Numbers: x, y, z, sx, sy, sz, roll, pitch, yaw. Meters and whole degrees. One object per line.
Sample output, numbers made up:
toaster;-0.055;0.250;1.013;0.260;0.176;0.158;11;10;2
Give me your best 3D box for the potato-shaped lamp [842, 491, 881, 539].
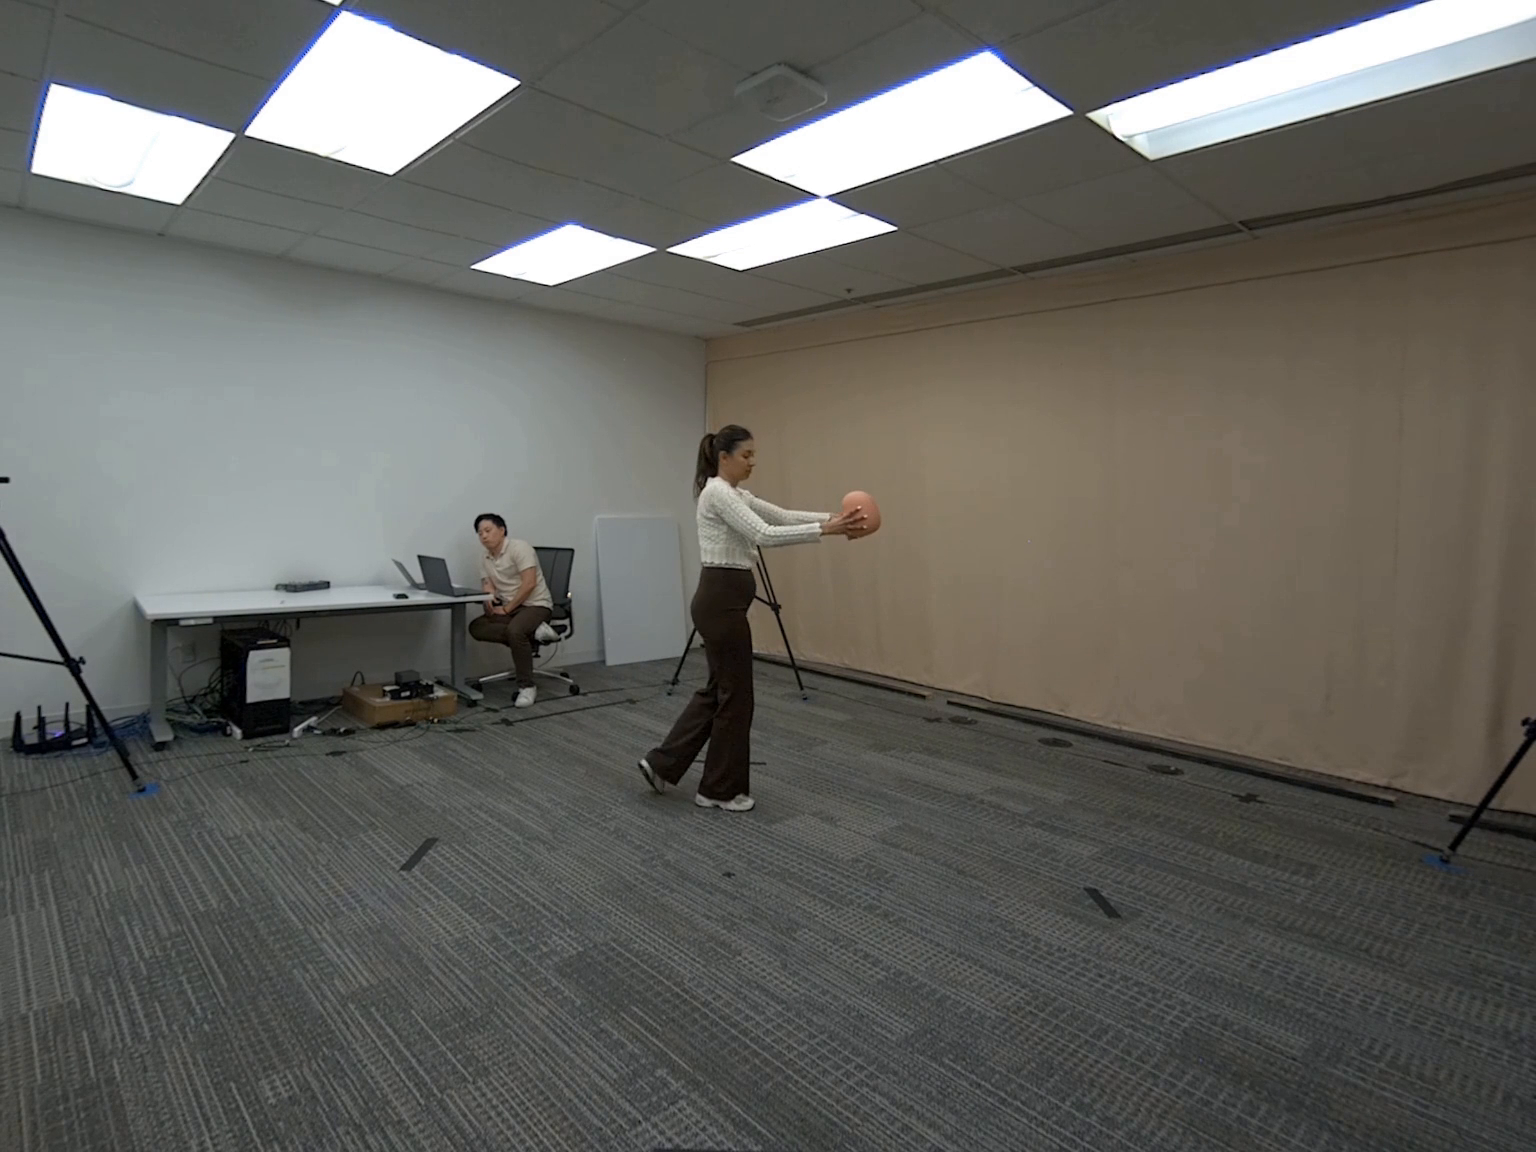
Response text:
potato-shaped lamp;0.377;-0.270;3.628;0.167;0.197;0.170;-5;9;23
